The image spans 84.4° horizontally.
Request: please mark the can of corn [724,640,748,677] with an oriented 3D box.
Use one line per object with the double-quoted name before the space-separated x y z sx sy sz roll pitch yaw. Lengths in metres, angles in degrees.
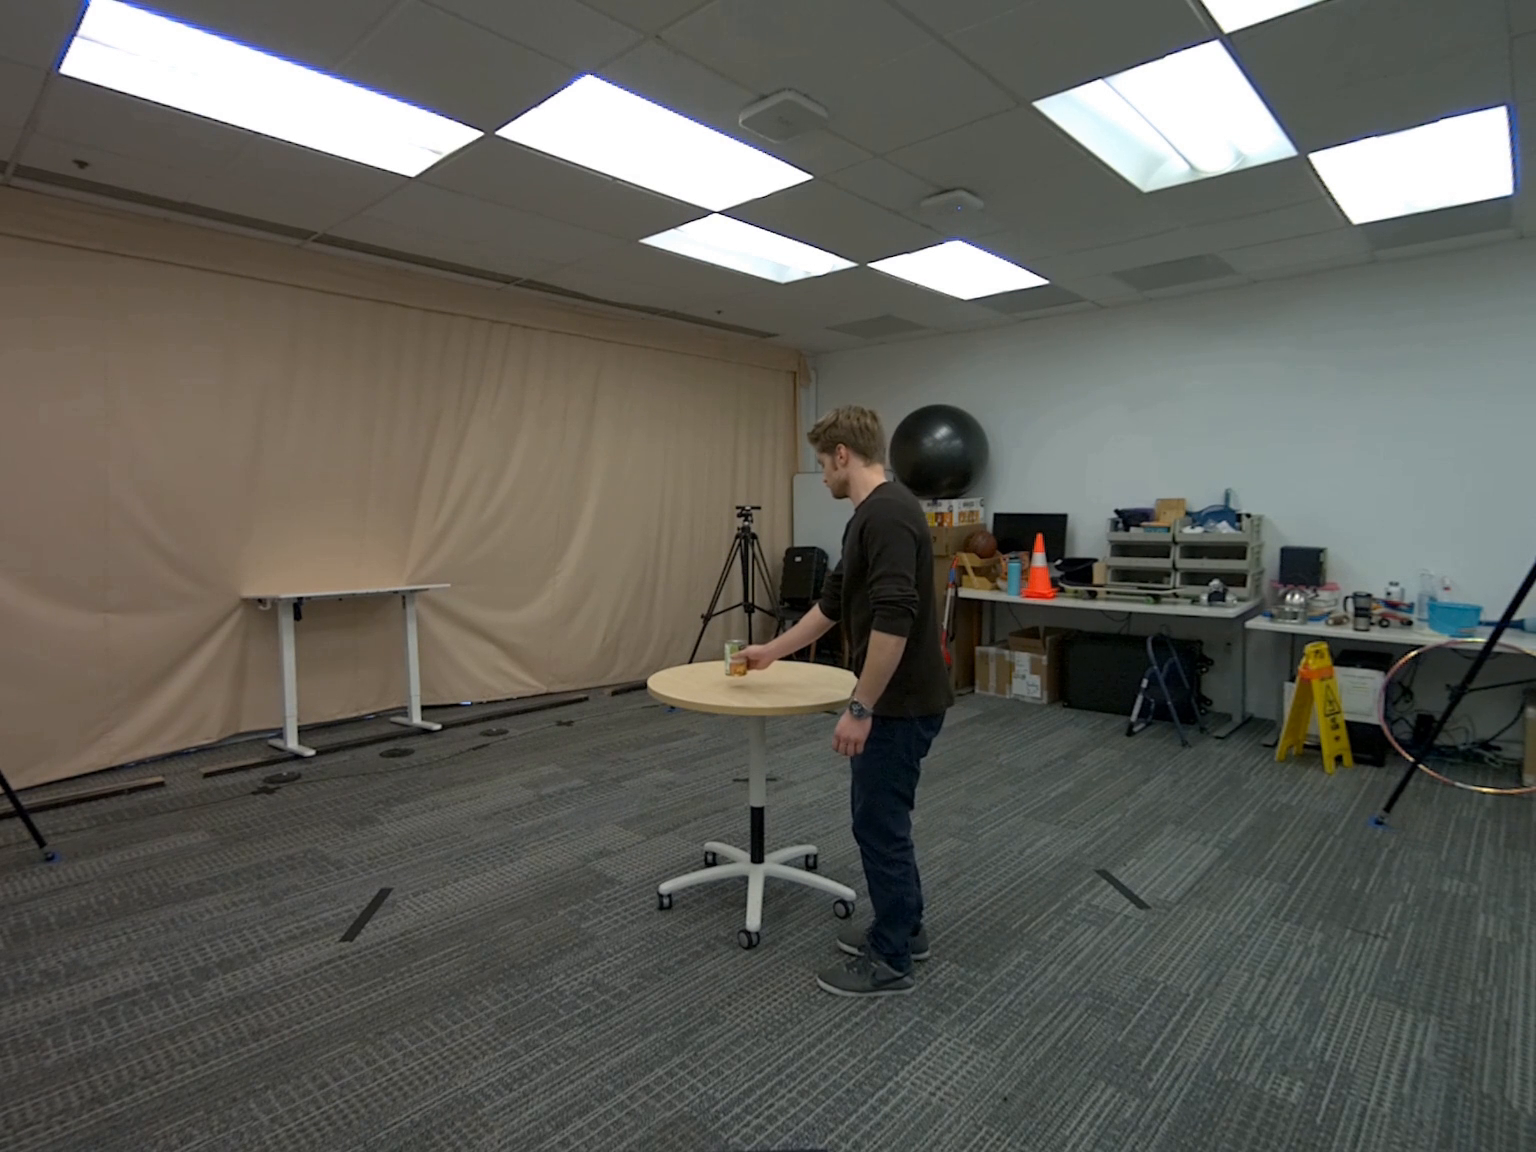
"can of corn" -0.102 0.279 2.823 0.074 0.111 0.074 -2 0 -2
